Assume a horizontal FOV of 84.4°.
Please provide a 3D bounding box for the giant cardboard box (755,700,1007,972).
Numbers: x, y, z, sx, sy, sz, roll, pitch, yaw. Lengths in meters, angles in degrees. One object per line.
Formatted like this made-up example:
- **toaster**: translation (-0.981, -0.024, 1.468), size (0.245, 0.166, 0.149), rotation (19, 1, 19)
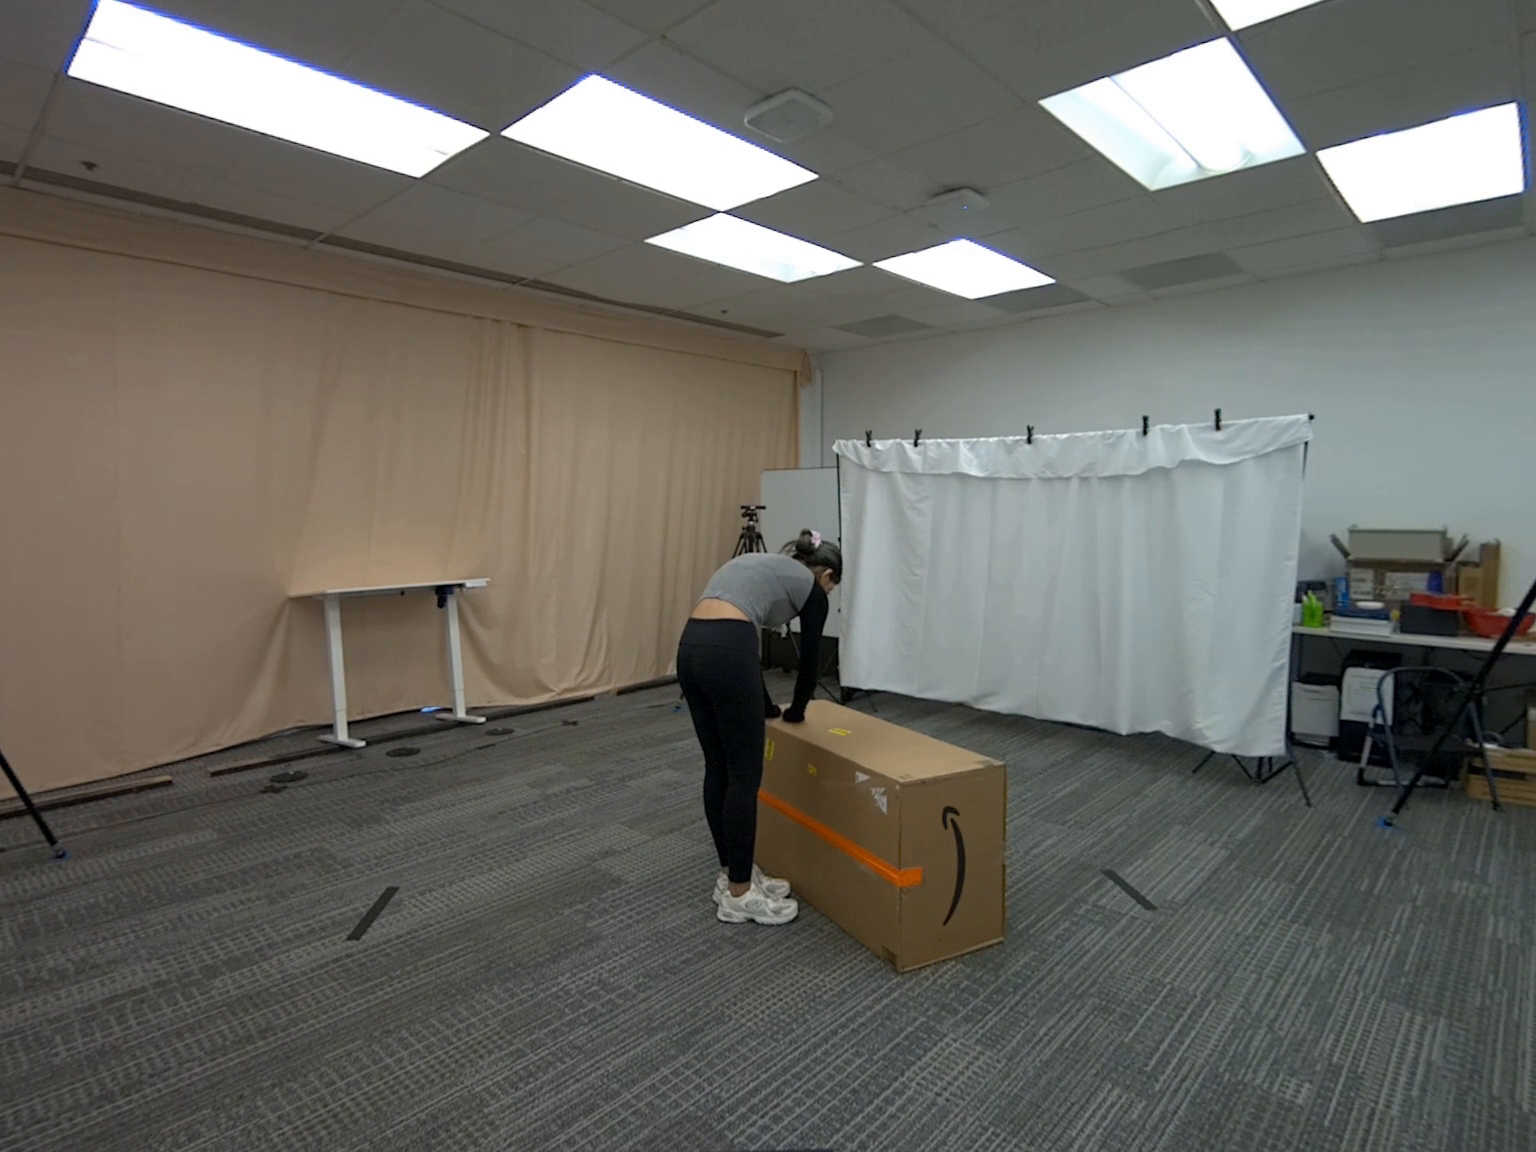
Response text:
- **giant cardboard box**: translation (0.320, 0.851, 3.033), size (0.415, 0.576, 1.055), rotation (-2, 4, -29)
